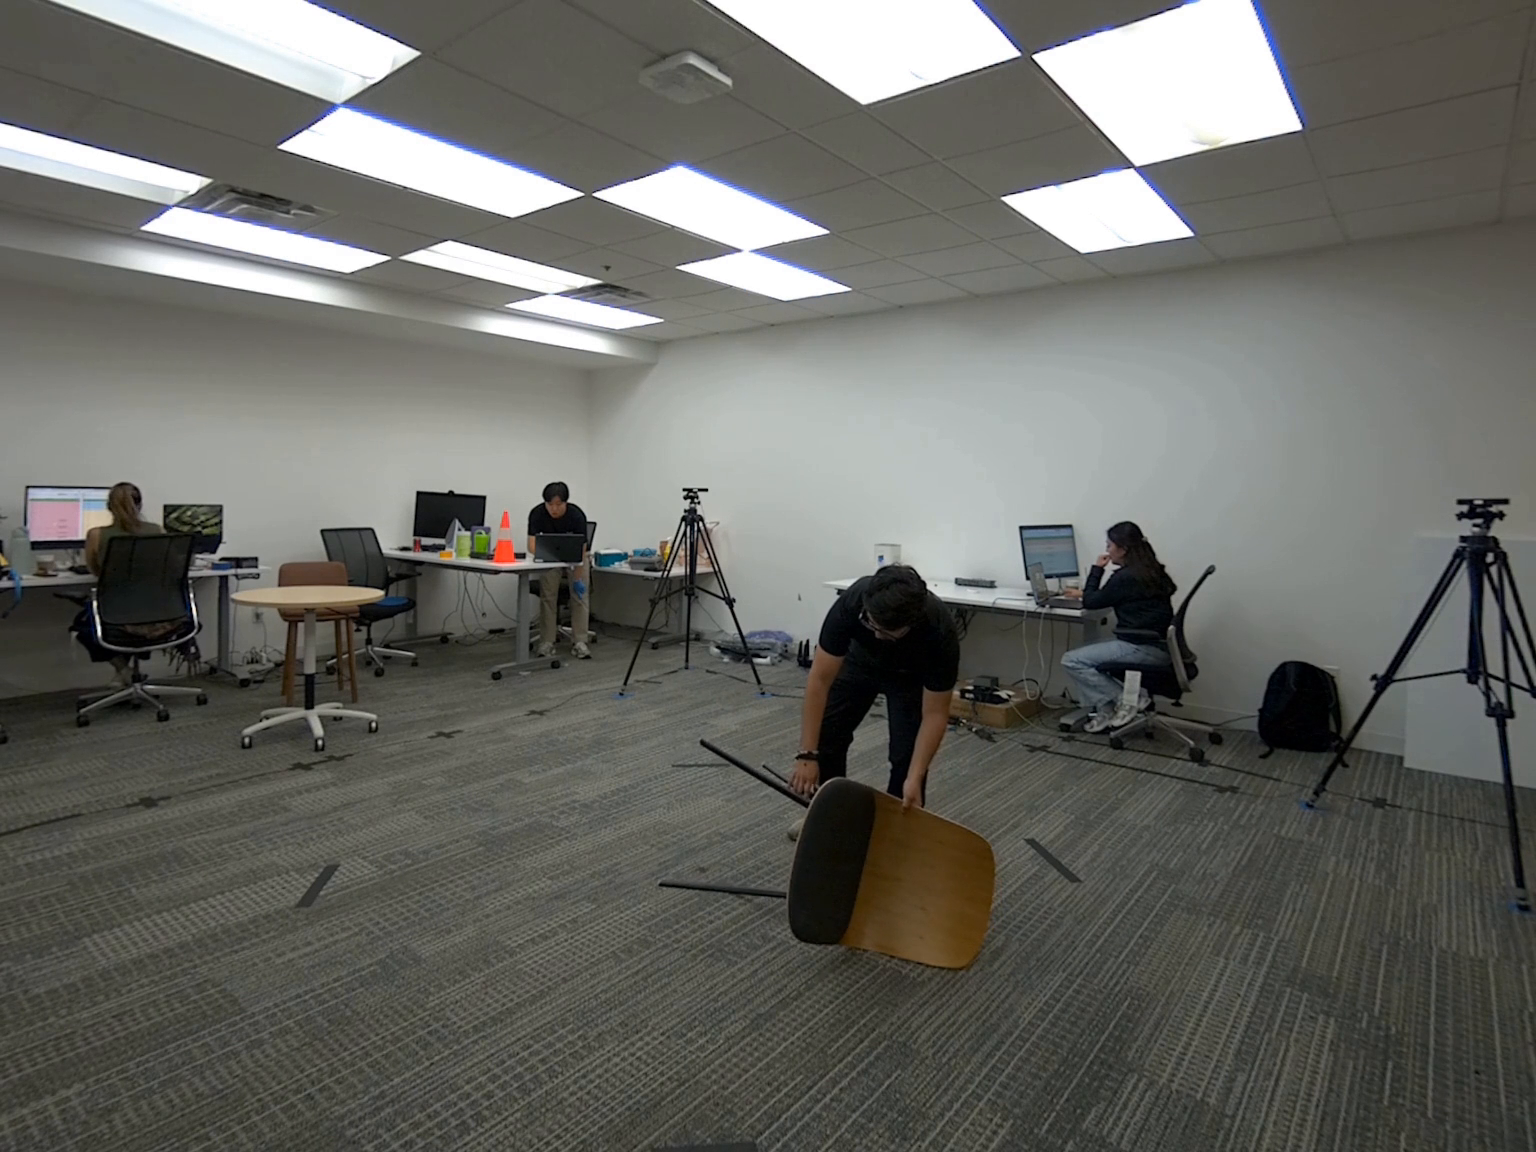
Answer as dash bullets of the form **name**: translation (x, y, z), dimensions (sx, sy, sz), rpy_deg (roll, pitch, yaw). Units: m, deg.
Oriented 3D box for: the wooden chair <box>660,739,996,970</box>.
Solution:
- **wooden chair**: translation (0.181, 0.852, 2.574), dimensions (0.905, 0.482, 0.502), rpy_deg (9, -16, 29)
